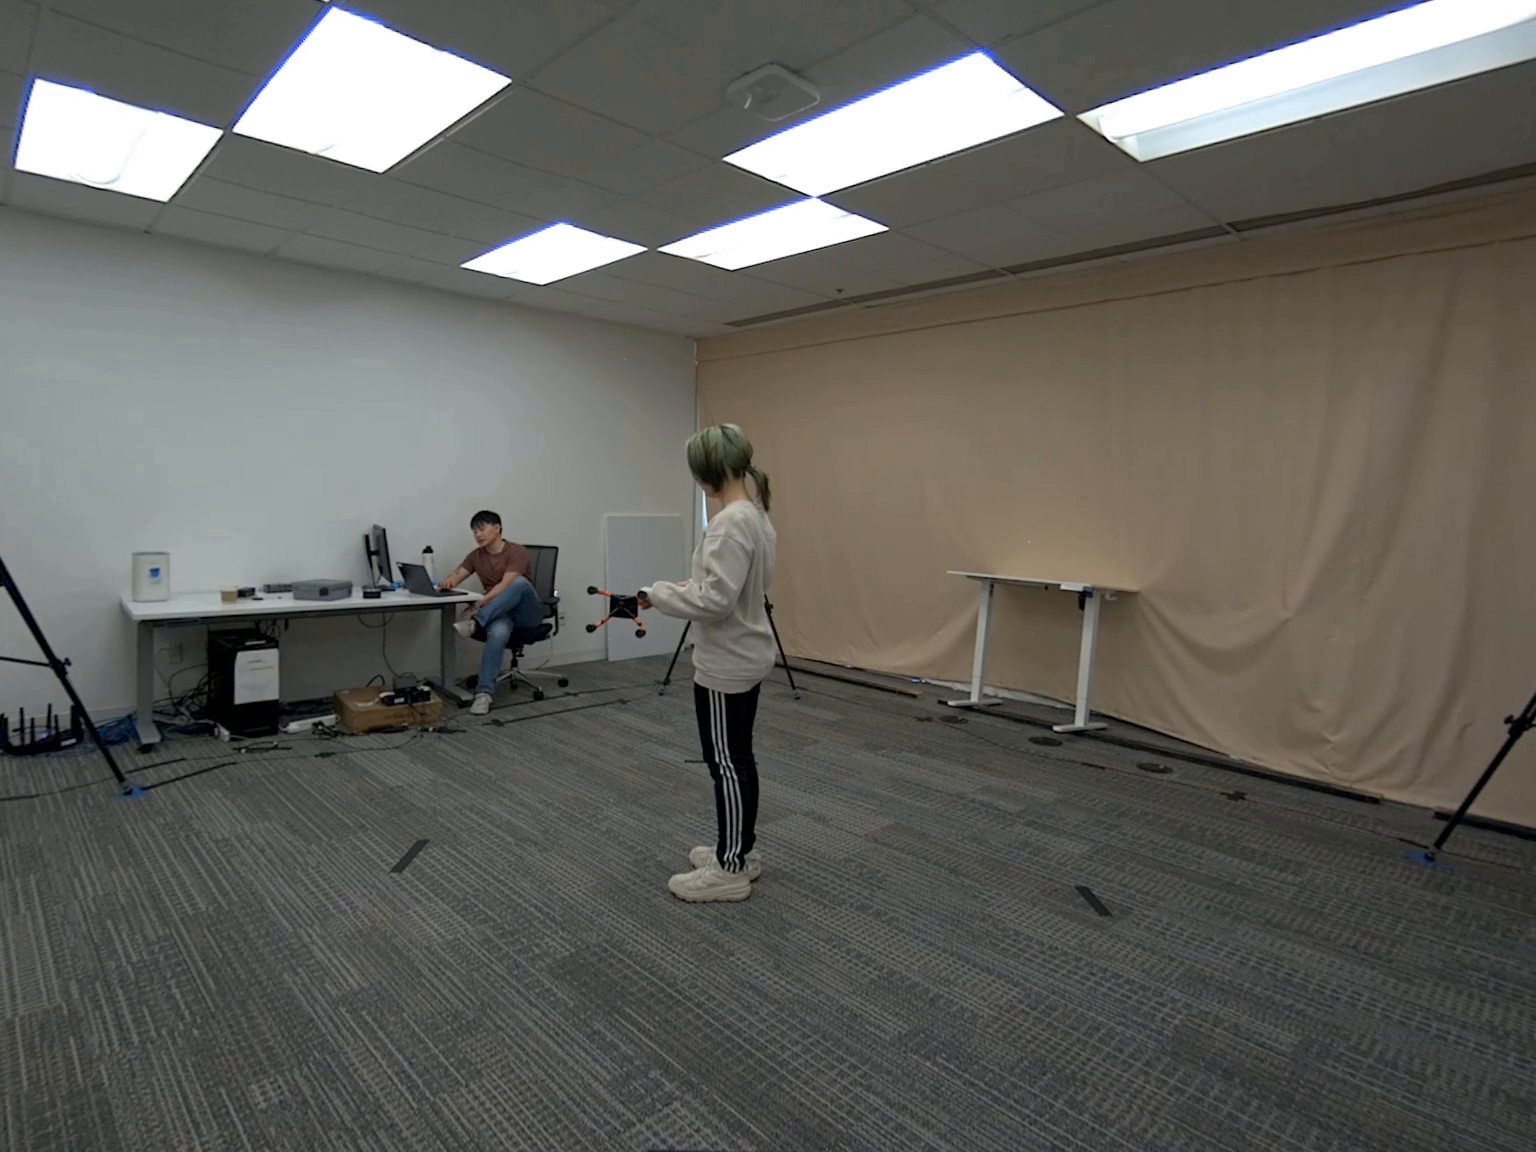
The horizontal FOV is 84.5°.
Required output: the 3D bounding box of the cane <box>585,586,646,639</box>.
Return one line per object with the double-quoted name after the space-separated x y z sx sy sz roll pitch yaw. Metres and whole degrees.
-0.402 0.089 3.115 0.209 0.151 0.899 4 5 13 "cane"
